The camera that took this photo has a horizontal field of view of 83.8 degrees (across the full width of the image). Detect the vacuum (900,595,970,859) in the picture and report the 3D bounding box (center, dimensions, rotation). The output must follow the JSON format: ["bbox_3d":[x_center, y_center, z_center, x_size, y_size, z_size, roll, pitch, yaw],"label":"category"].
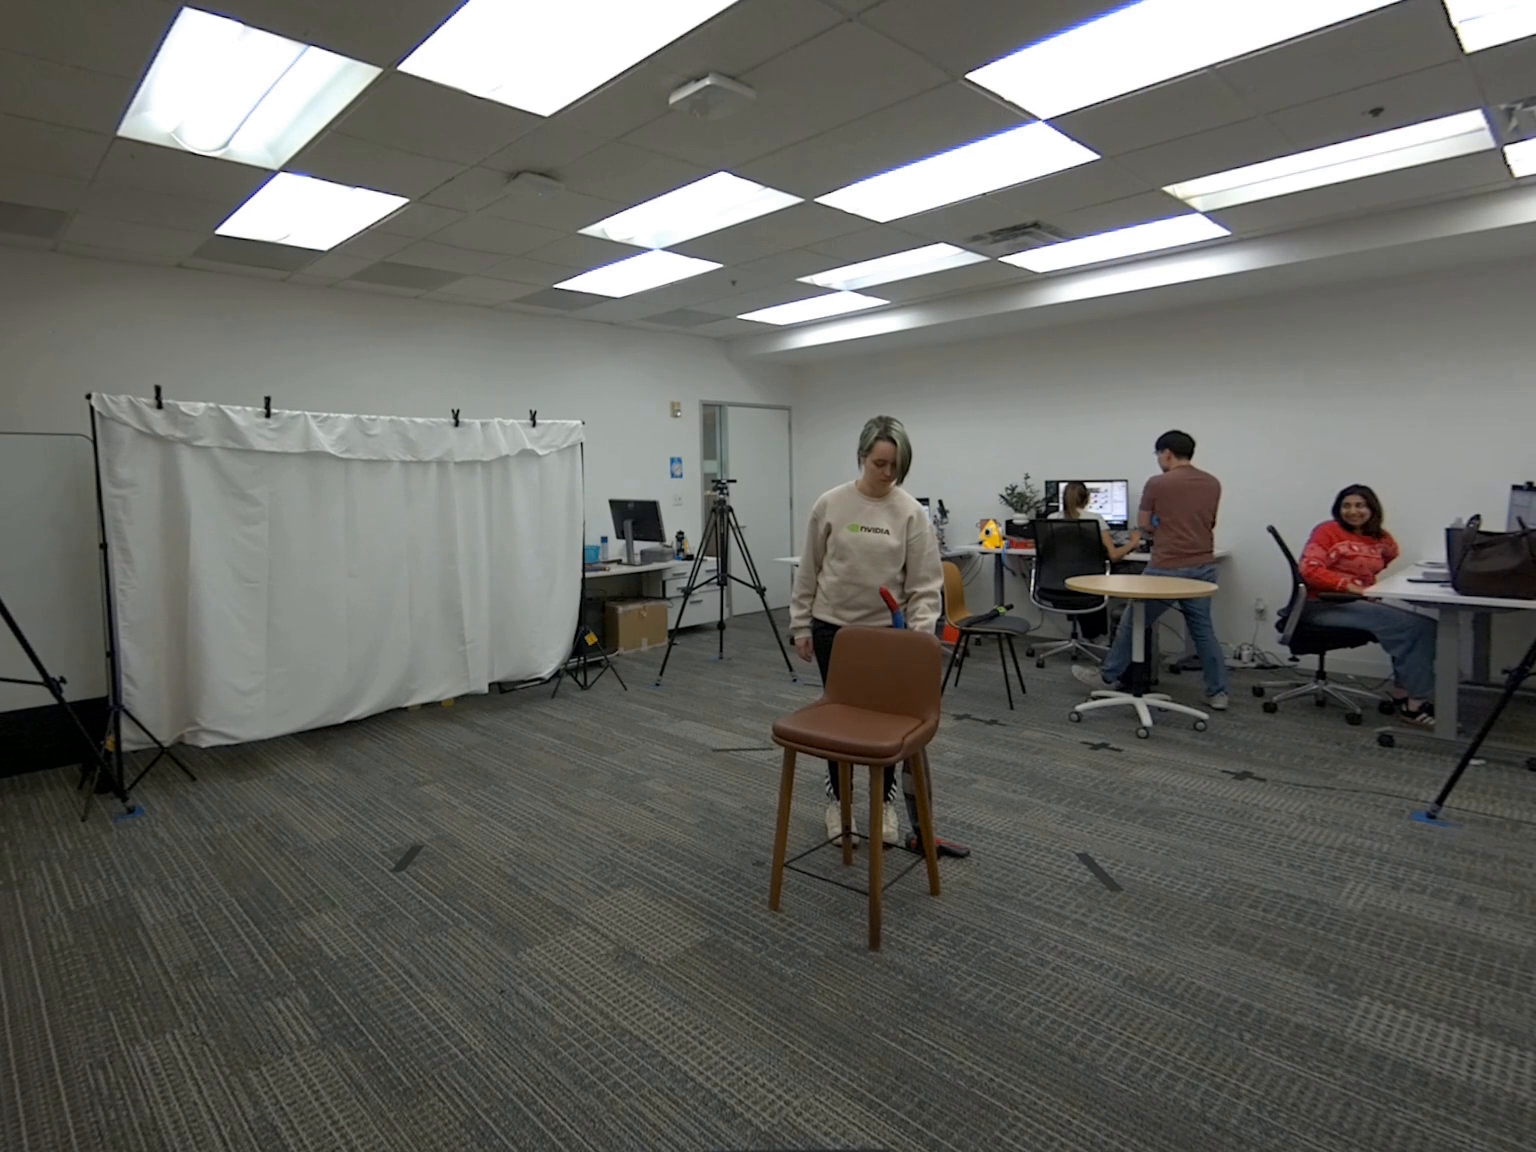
[{"bbox_3d":[0.518,0.544,3.069,0.259,1.034,0.142,-1,17,36],"label":"vacuum"}]
